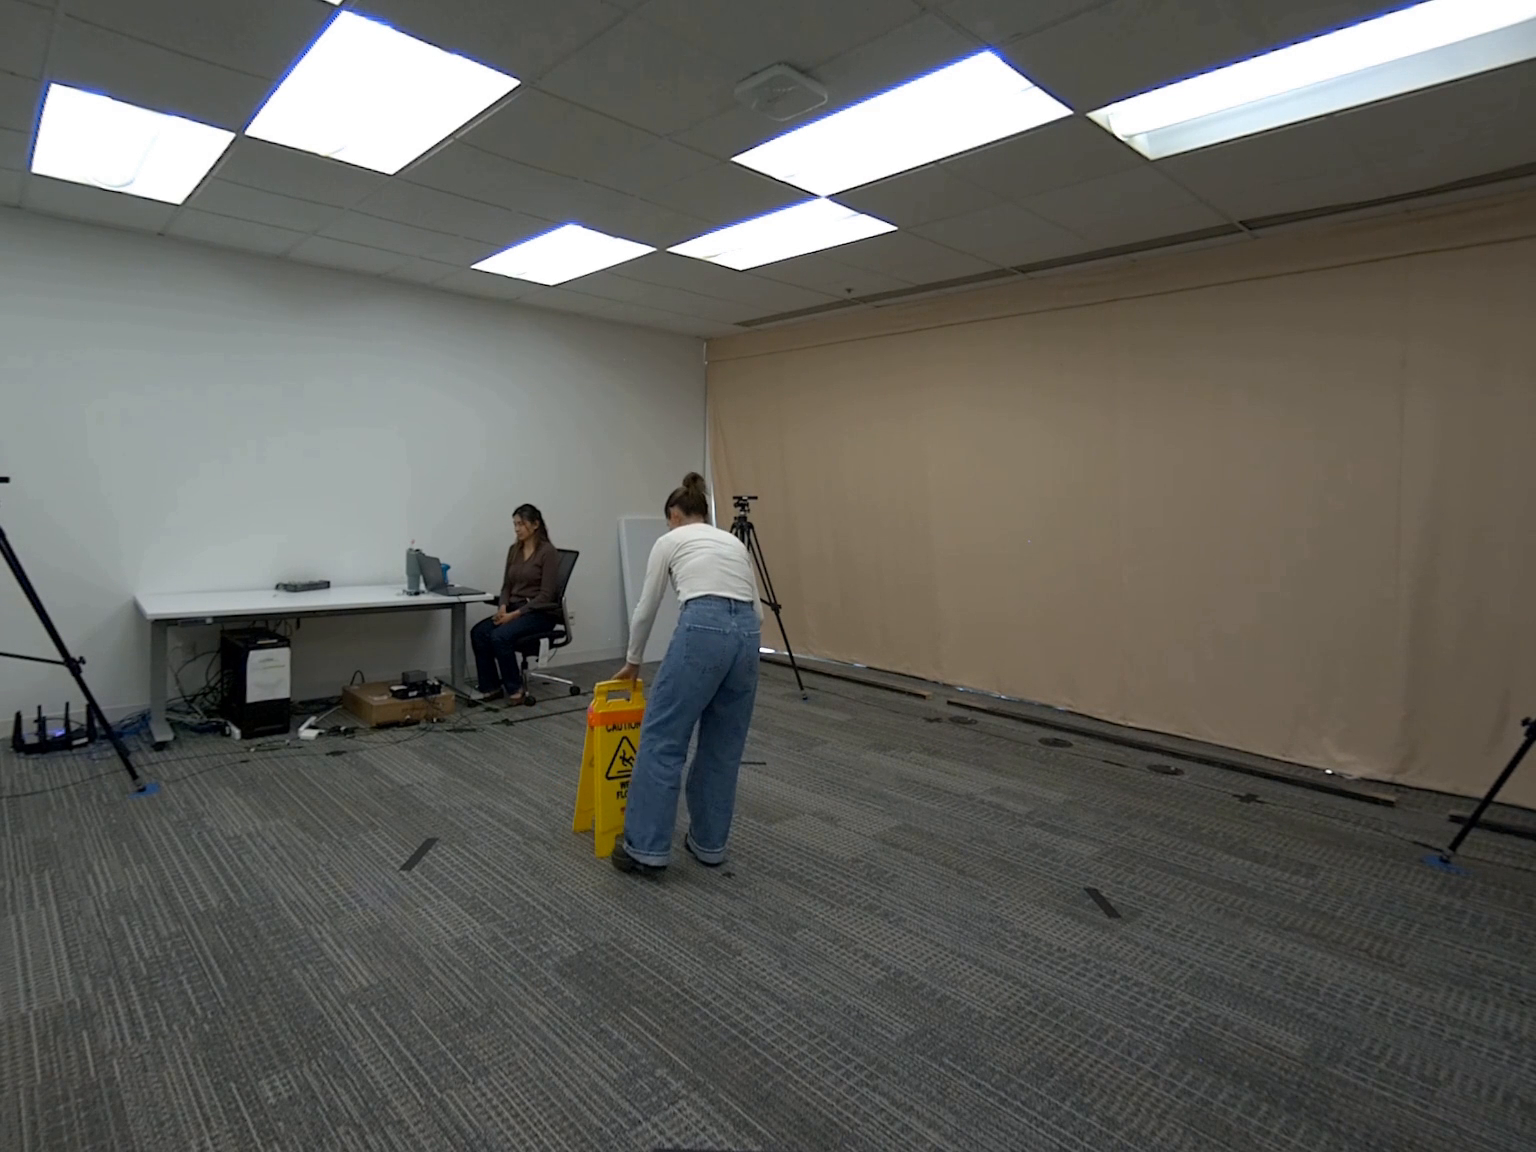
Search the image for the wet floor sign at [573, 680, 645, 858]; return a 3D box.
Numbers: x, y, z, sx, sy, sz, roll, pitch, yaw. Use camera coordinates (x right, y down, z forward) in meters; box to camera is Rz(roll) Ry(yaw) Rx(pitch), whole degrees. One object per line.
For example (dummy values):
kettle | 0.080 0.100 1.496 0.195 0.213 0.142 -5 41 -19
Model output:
wet floor sign | -0.610 0.740 3.393 0.277 0.644 0.296 -2 4 -28
